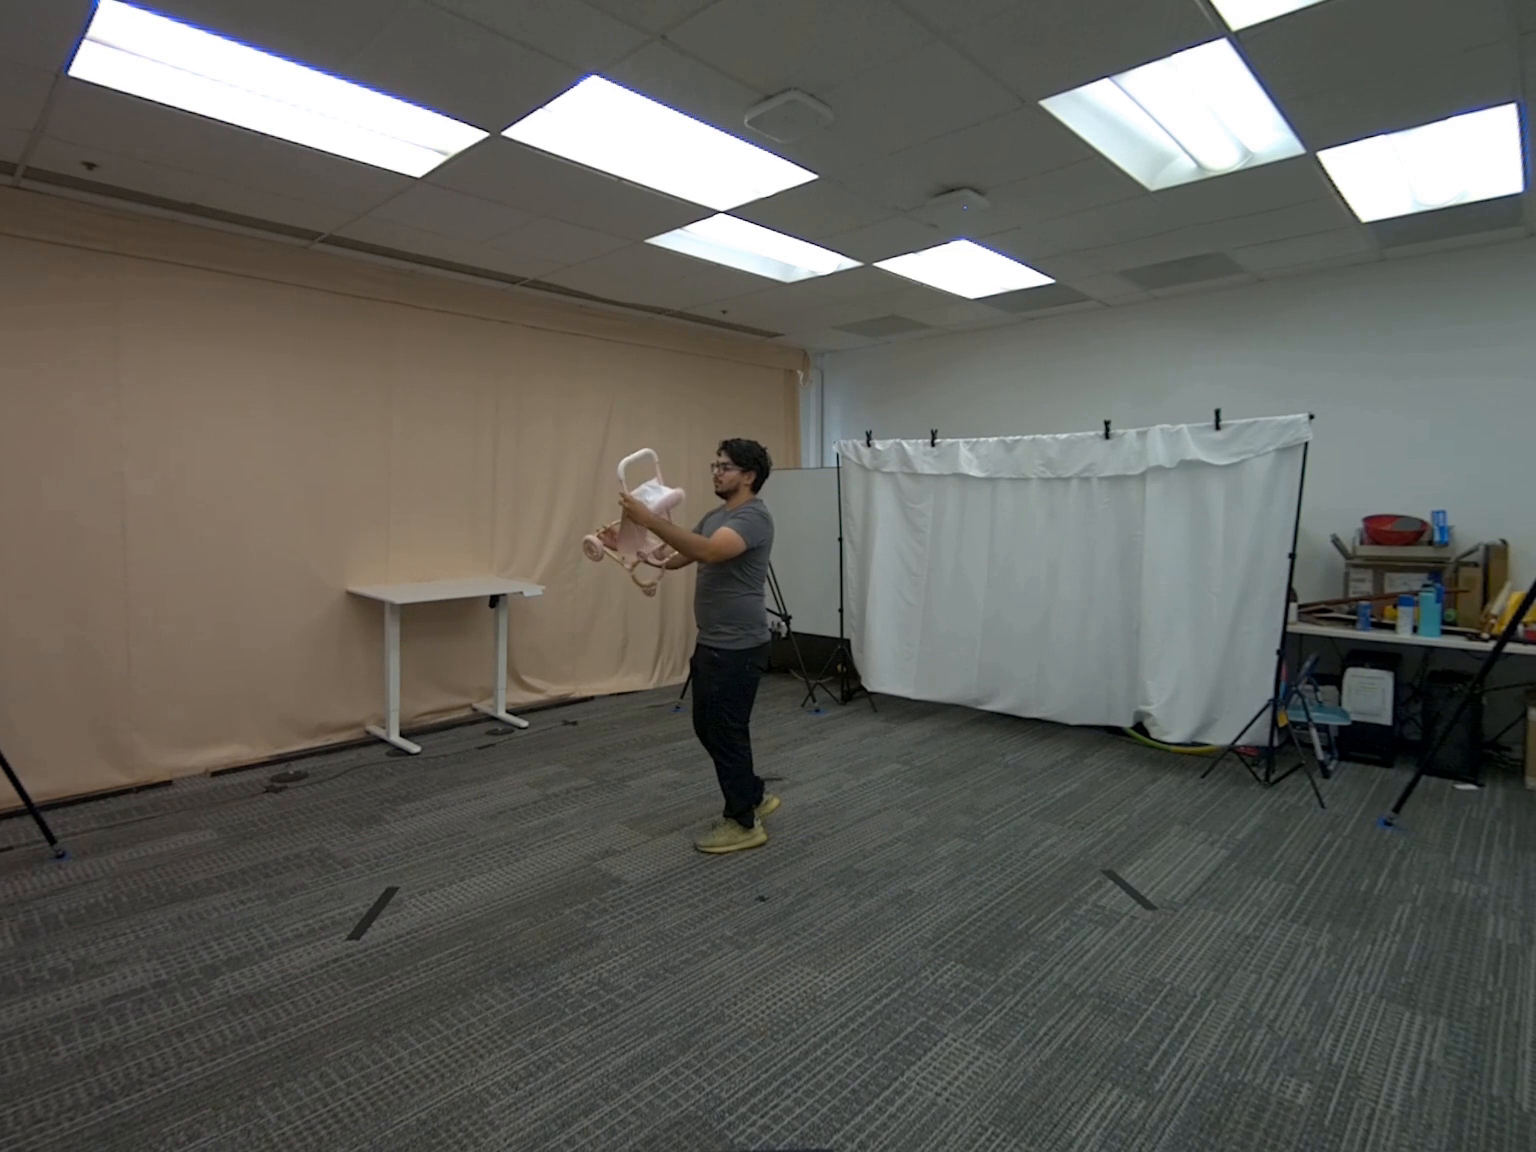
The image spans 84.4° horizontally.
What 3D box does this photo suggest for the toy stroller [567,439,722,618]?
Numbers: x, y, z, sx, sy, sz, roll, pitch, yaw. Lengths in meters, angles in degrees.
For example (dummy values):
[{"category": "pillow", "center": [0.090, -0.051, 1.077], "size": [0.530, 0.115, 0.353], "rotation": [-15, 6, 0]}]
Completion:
[{"category": "toy stroller", "center": [-0.480, -0.178, 3.207], "size": [0.276, 0.347, 0.535], "rotation": [-31, -19, -45]}]
